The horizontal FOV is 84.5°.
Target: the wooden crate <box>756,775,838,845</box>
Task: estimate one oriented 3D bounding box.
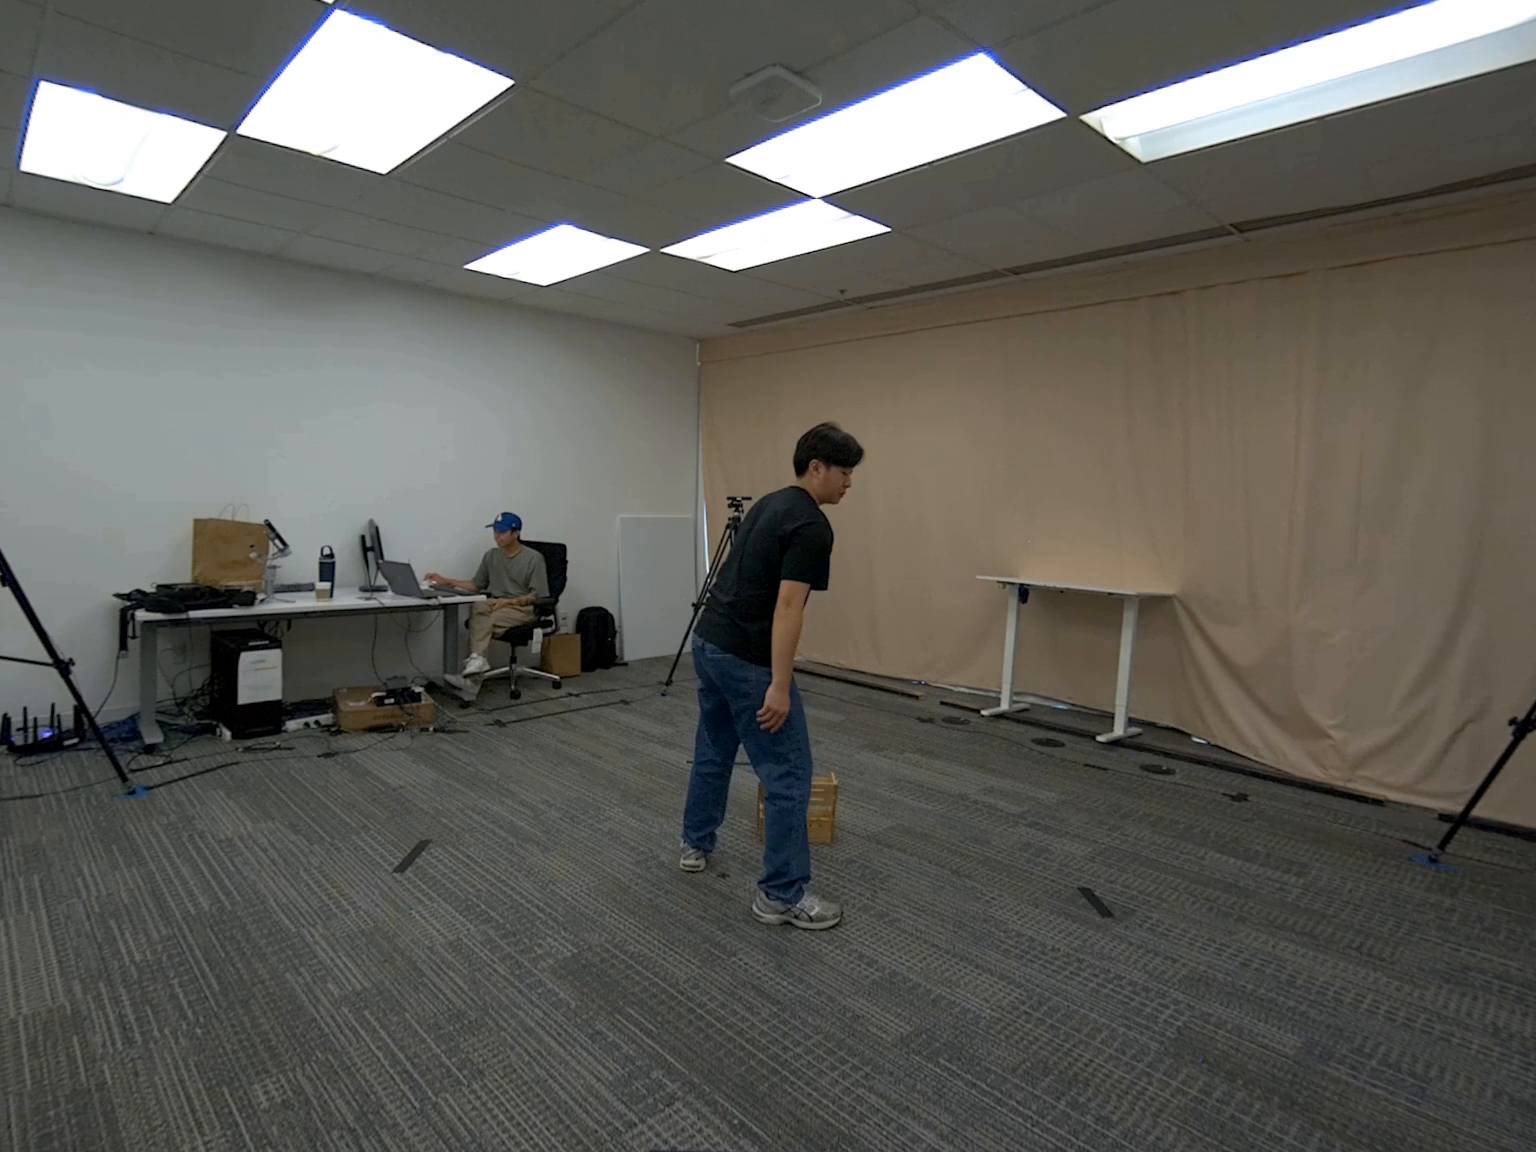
[{"bbox_3d":[0.115,0.943,3.534,0.325,0.273,0.302,1,3,0],"label":"wooden crate"}]
